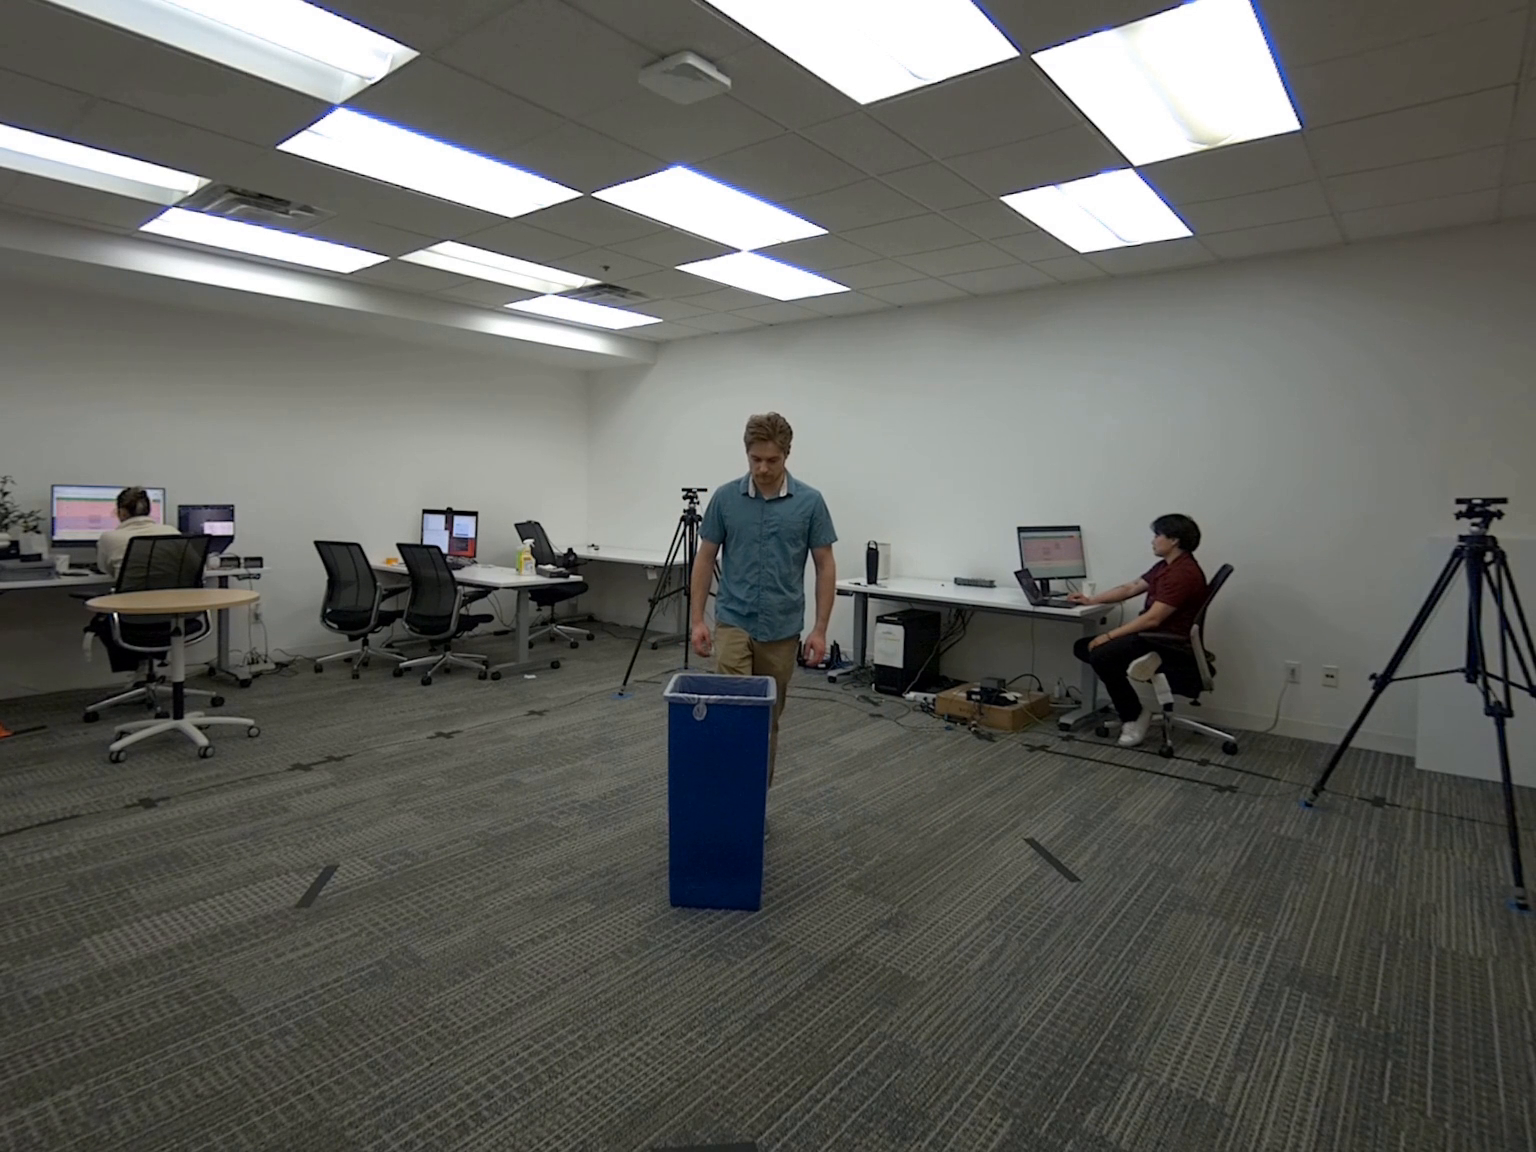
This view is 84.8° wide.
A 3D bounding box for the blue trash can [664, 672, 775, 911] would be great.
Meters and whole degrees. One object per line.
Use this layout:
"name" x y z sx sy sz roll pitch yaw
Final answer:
"blue trash can" -0.181 0.729 2.949 0.379 0.711 0.374 2 3 1
